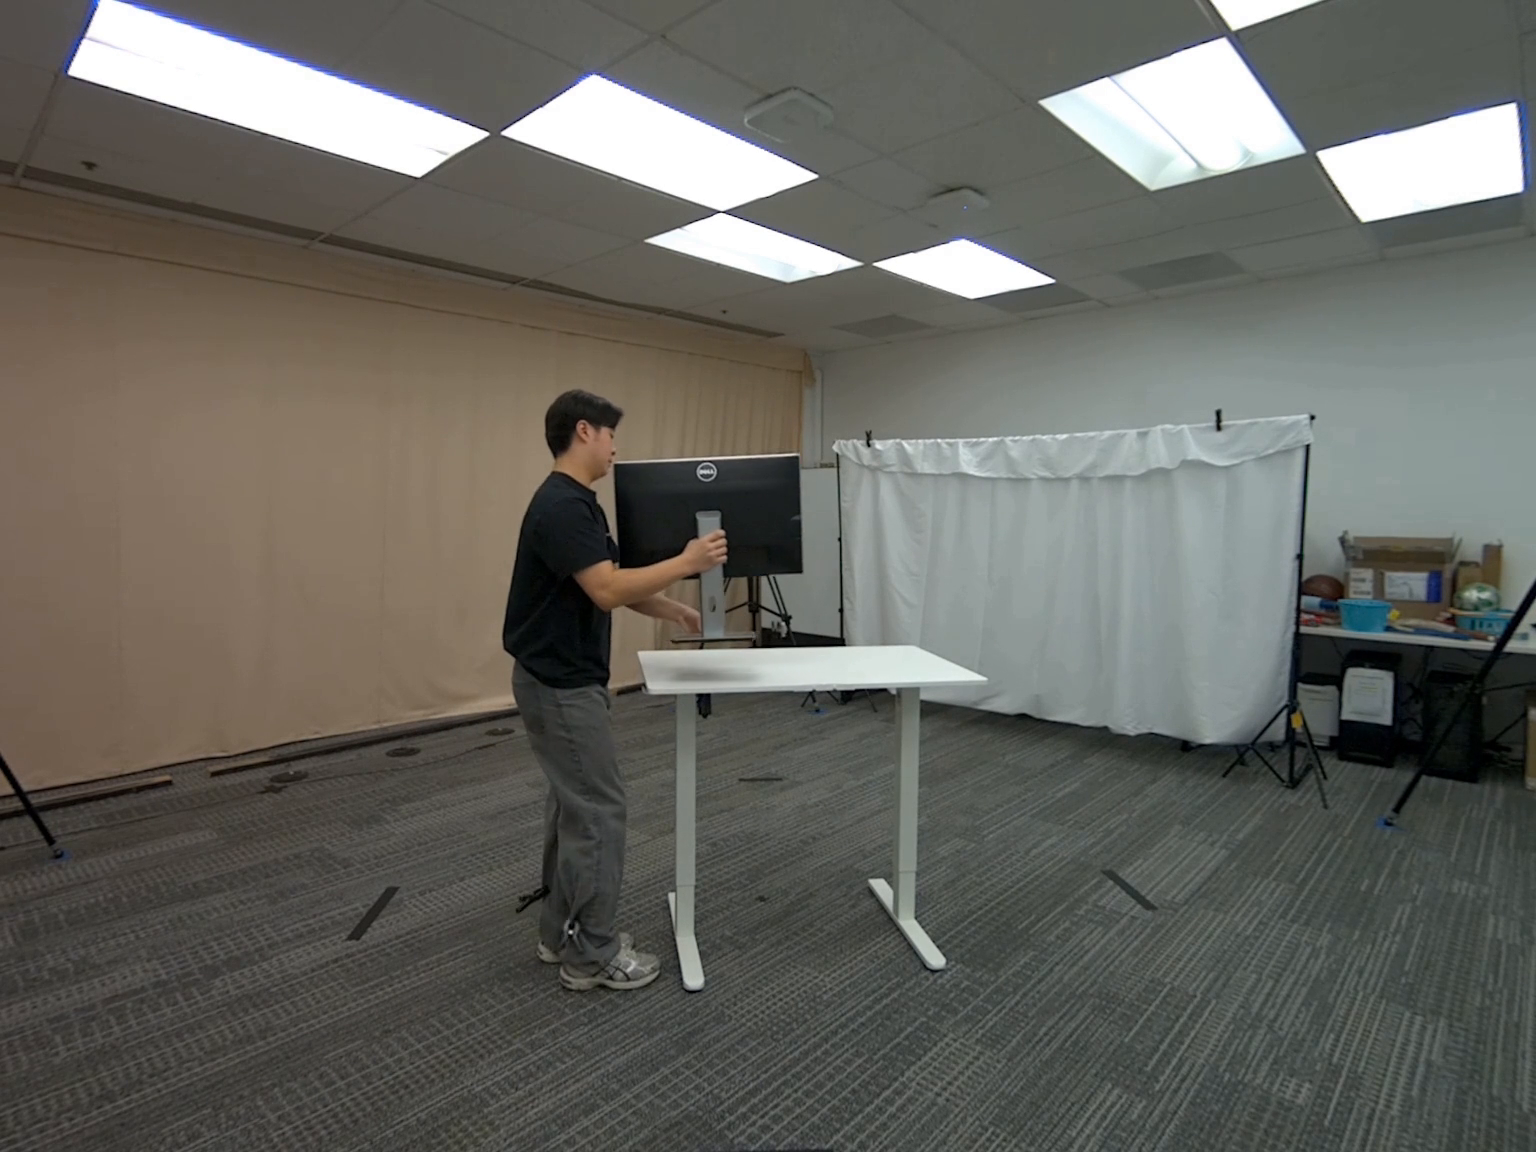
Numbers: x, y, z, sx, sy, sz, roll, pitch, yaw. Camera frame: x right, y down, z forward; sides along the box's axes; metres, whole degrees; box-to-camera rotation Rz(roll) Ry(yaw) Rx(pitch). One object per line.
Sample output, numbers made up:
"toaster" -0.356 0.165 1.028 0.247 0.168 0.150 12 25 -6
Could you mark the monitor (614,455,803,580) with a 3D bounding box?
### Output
"monitor" -0.172 -0.072 2.475 0.564 0.568 0.220 -3 -7 3
